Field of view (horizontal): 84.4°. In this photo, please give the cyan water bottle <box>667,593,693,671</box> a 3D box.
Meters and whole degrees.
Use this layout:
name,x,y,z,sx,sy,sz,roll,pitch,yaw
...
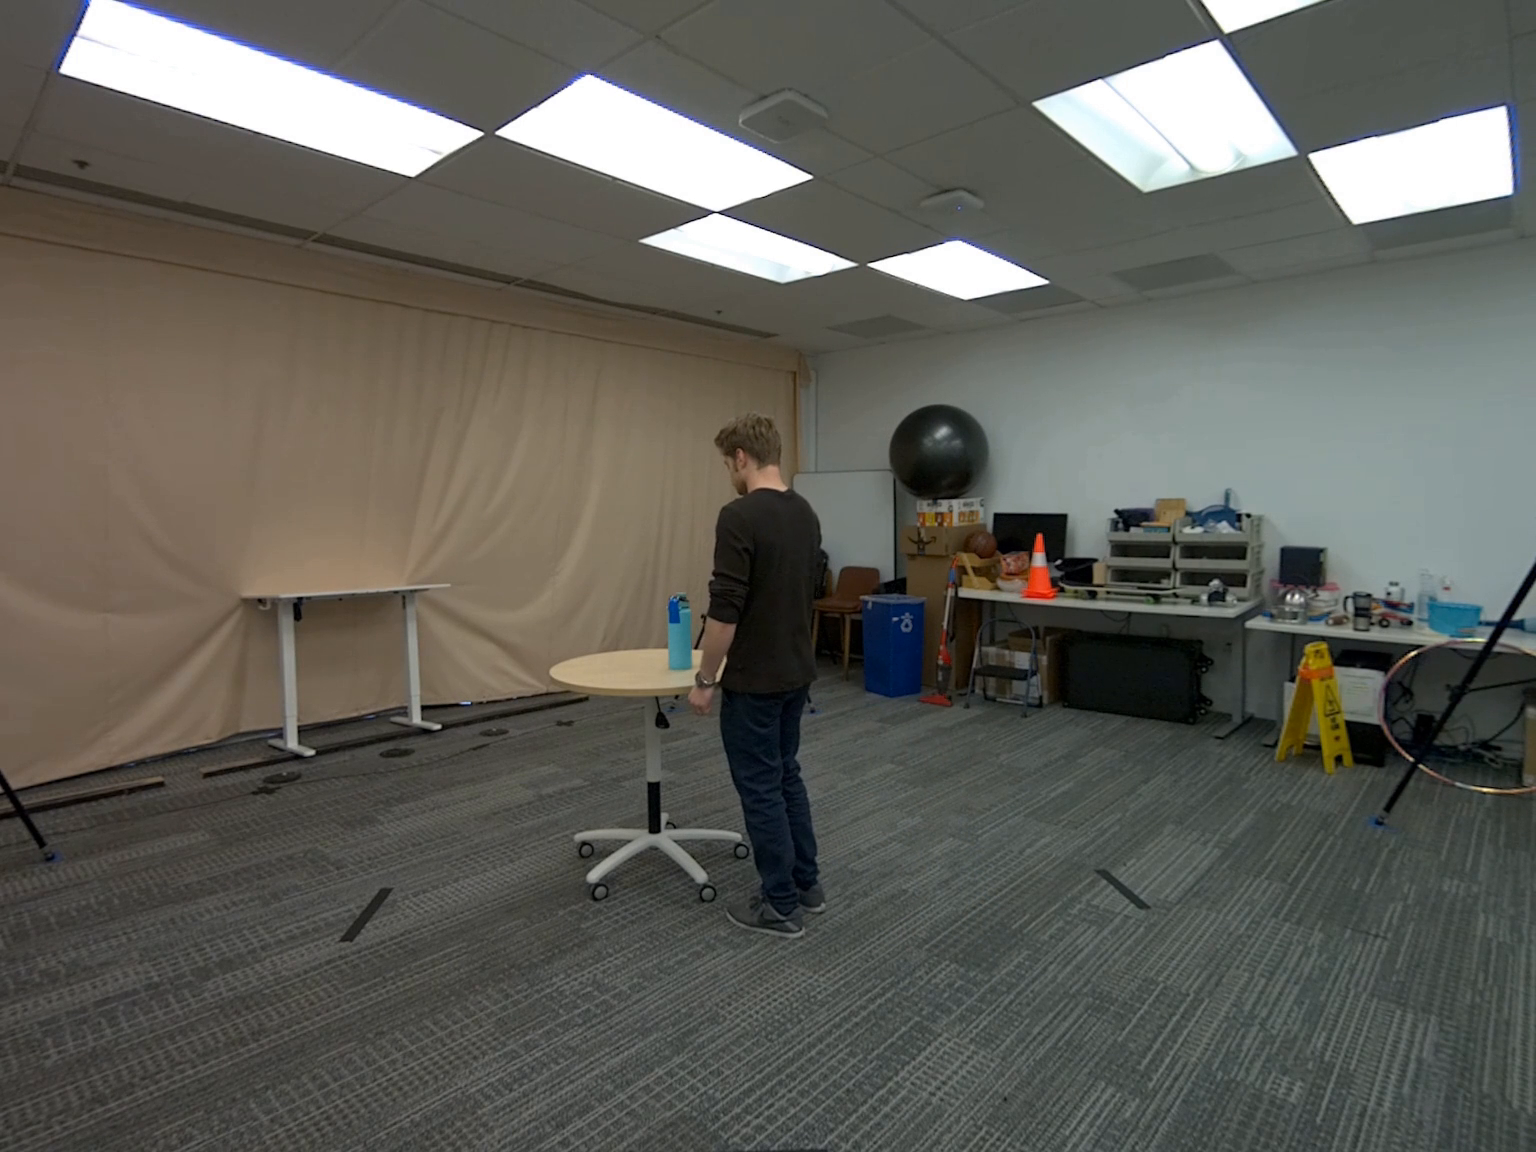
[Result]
name,x,y,z,sx,sy,sz,roll,pitch,yaw
cyan water bottle,-0.336,0.209,3.169,0.092,0.283,0.092,-1,3,-2
